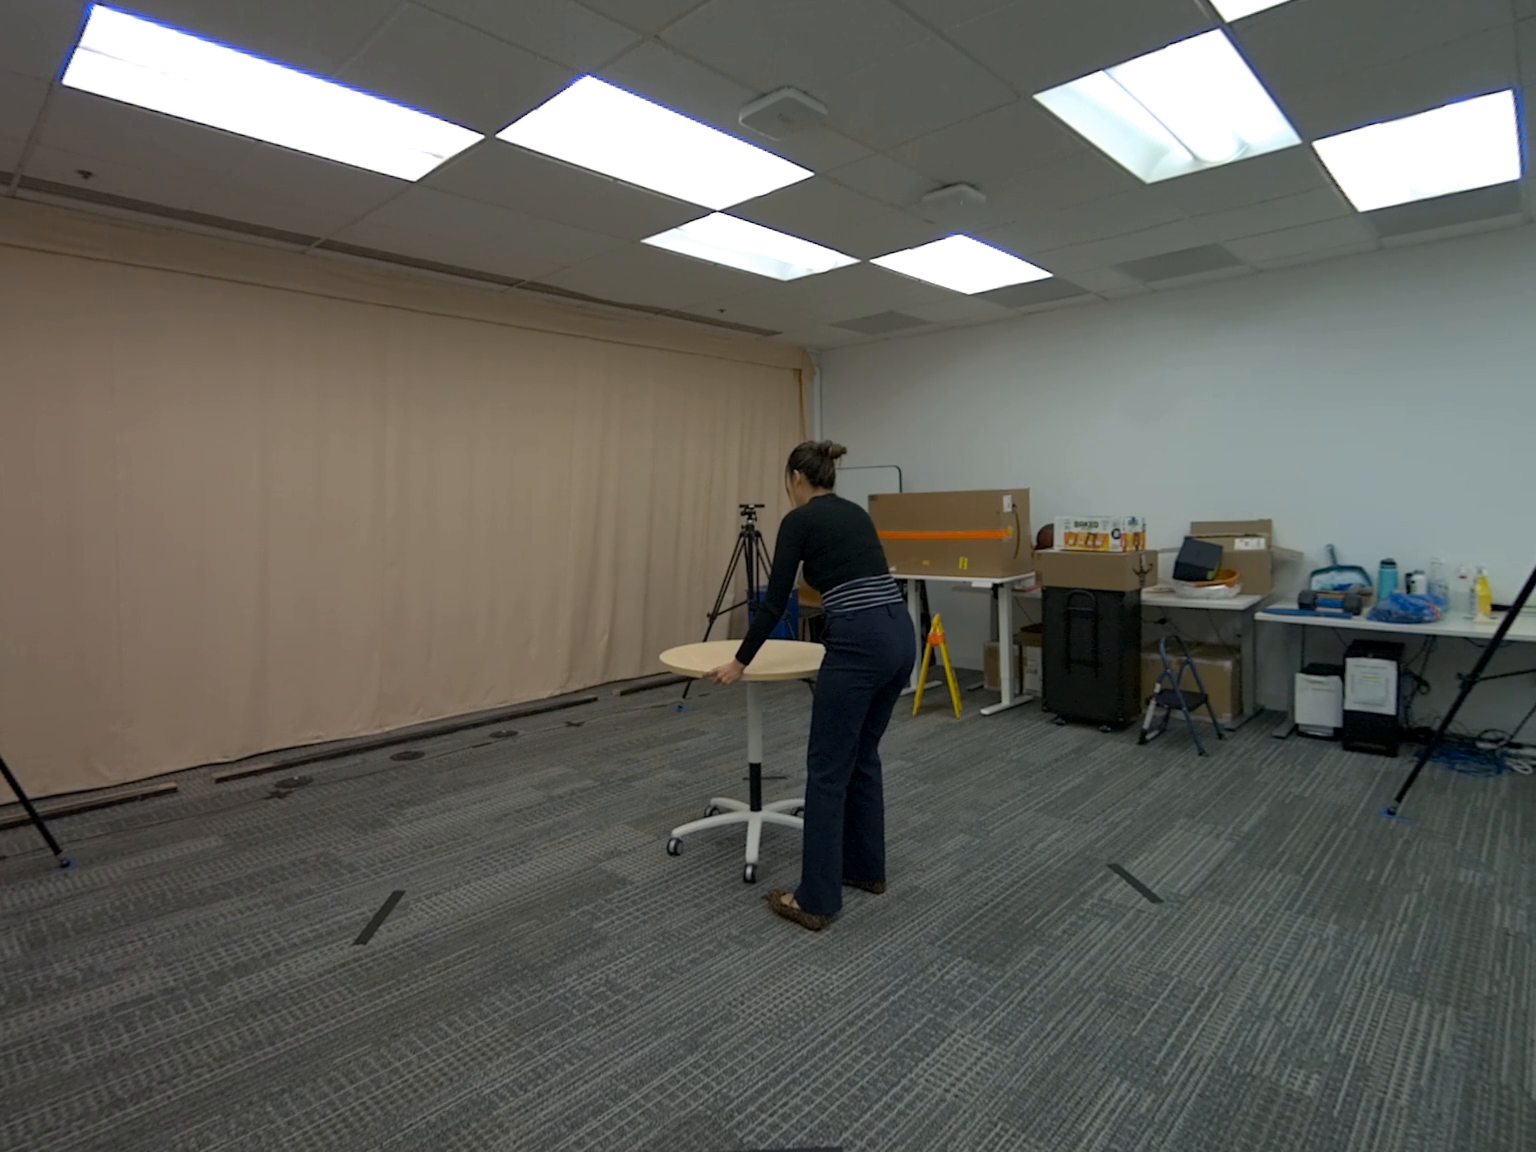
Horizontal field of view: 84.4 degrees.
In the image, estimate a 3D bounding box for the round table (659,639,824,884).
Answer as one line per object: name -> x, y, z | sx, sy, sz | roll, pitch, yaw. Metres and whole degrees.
round table -> -0.054, 0.713, 3.428 | 0.763, 0.792, 0.766 | -1, 3, -2
